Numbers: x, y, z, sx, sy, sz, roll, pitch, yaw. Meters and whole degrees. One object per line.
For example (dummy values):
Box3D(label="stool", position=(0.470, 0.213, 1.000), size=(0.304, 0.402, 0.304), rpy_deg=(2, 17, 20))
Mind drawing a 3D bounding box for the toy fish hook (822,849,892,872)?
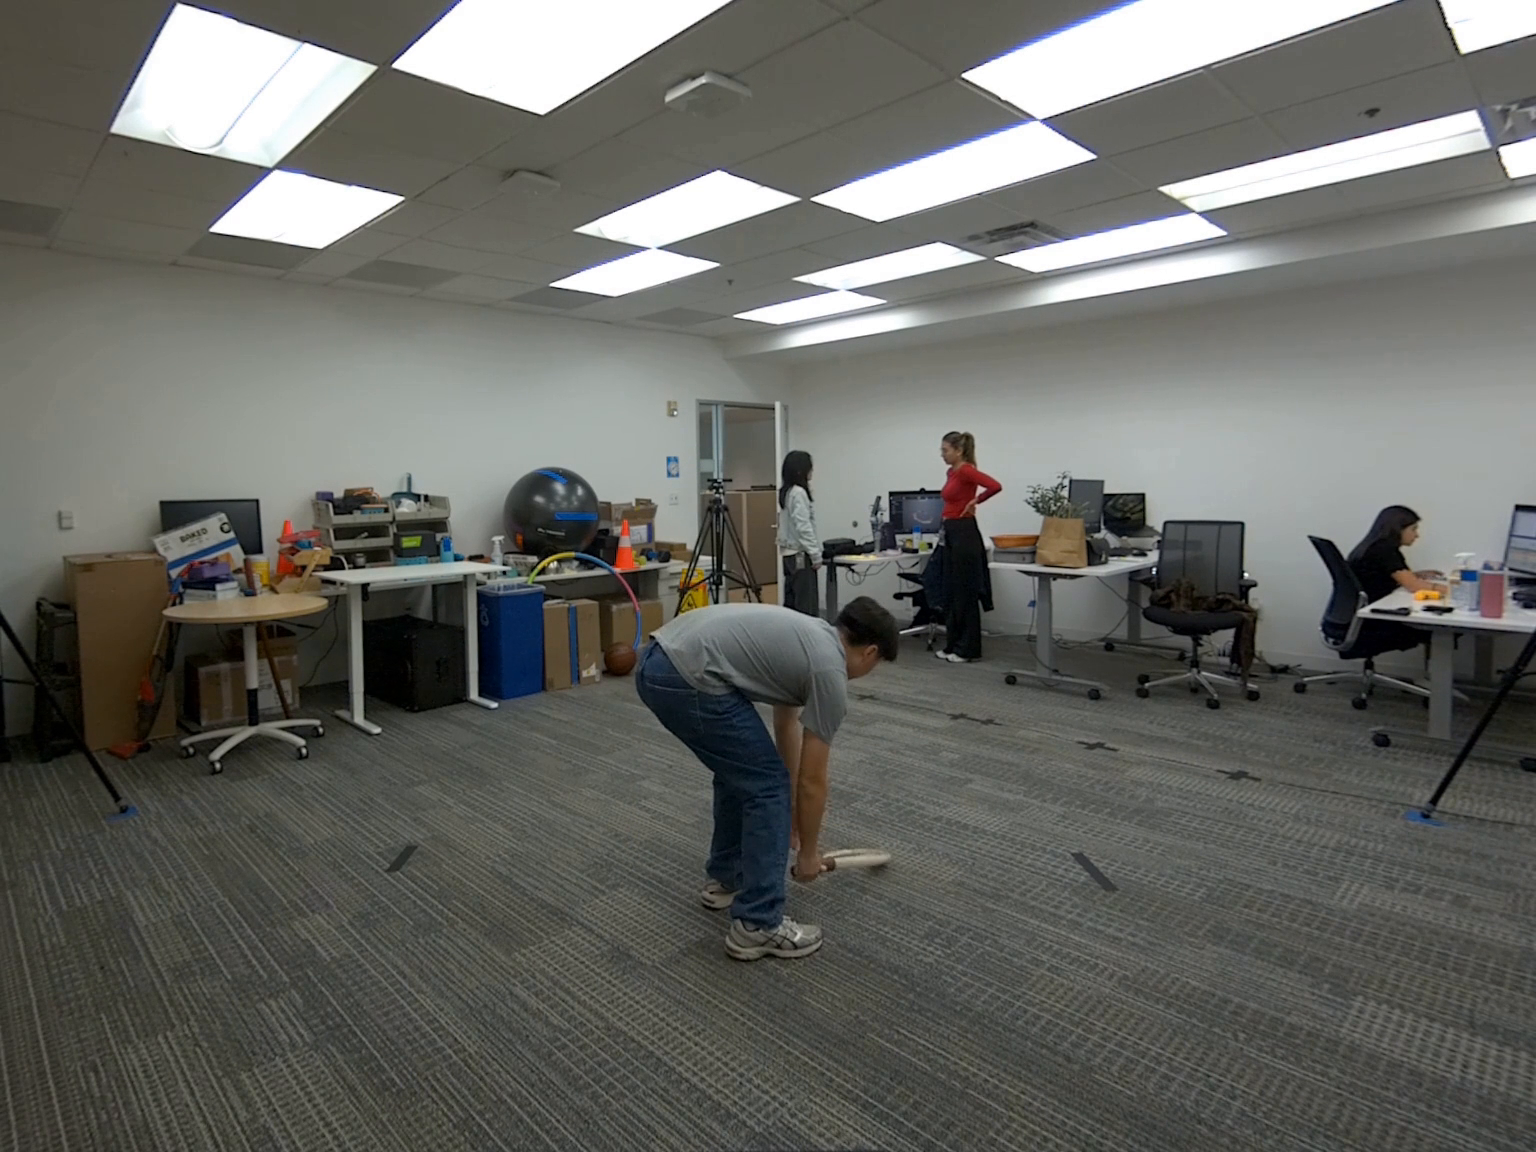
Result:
Box3D(label="toy fish hook", position=(0.232, 1.001, 2.963), size=(0.490, 0.049, 0.229), rpy_deg=(9, -16, -44))
